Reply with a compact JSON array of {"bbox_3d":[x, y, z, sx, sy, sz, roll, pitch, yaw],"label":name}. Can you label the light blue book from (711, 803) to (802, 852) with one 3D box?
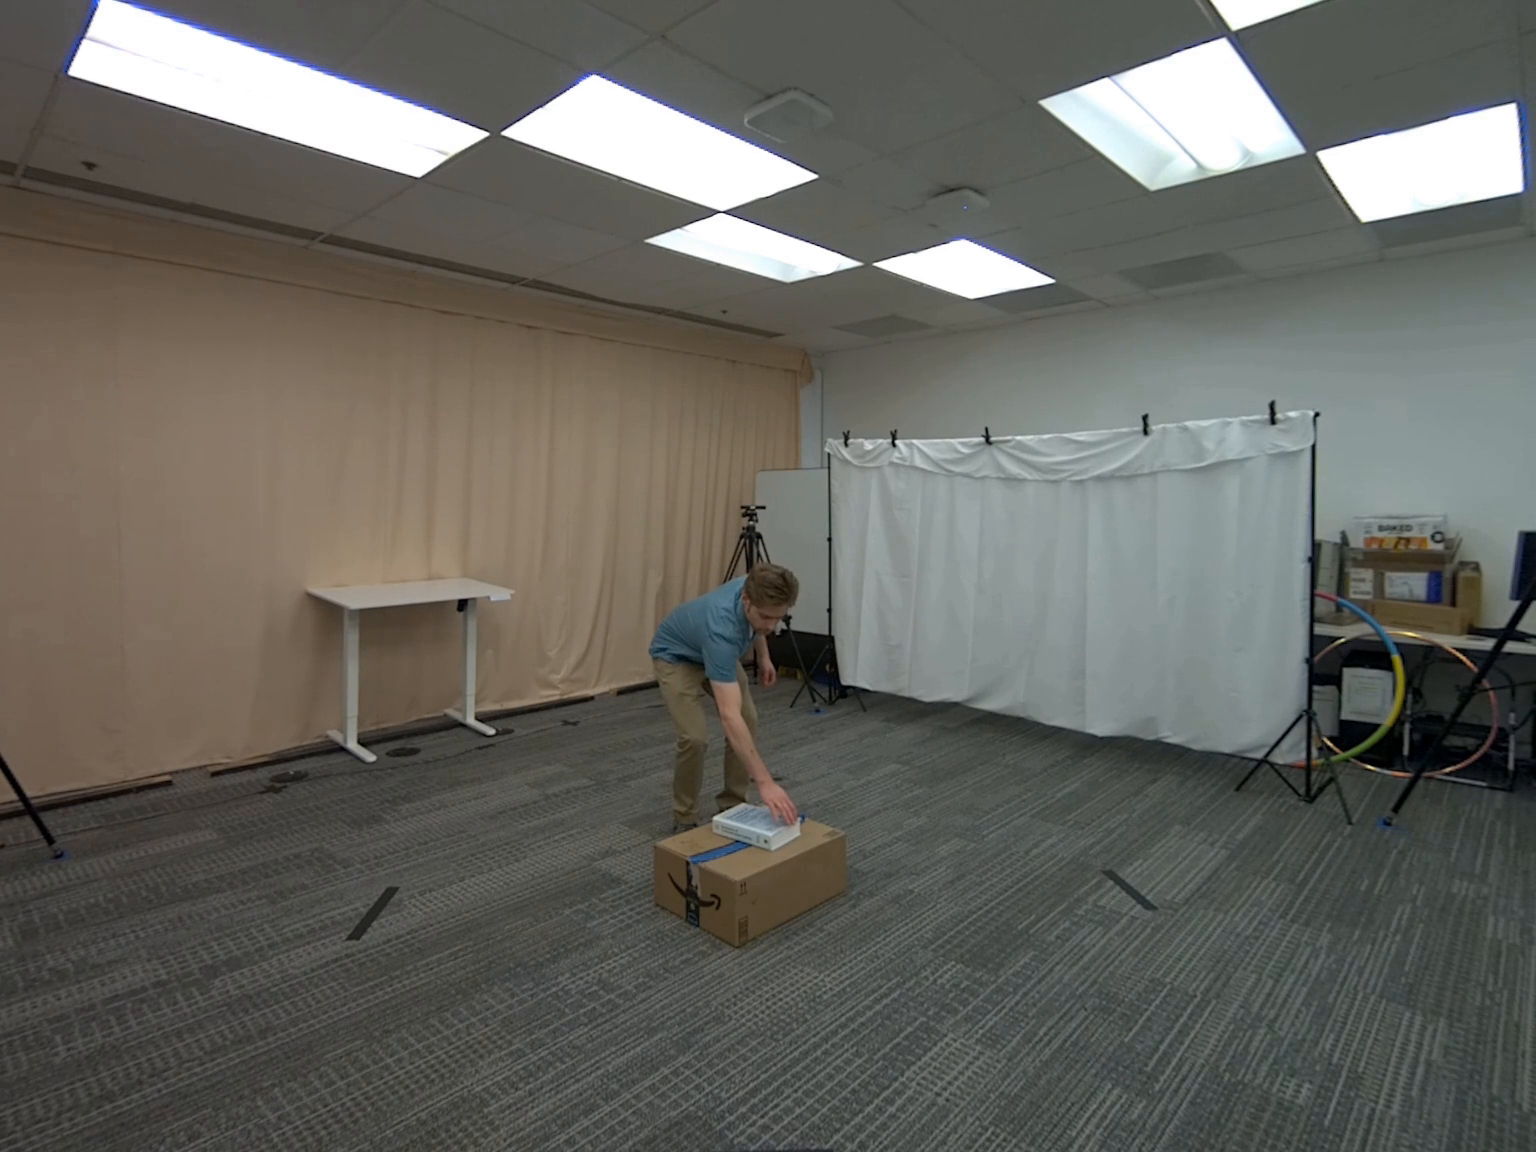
[{"bbox_3d":[-0.035,0.890,3.041,0.269,0.059,0.186,4,8,38],"label":"light blue book"}]
